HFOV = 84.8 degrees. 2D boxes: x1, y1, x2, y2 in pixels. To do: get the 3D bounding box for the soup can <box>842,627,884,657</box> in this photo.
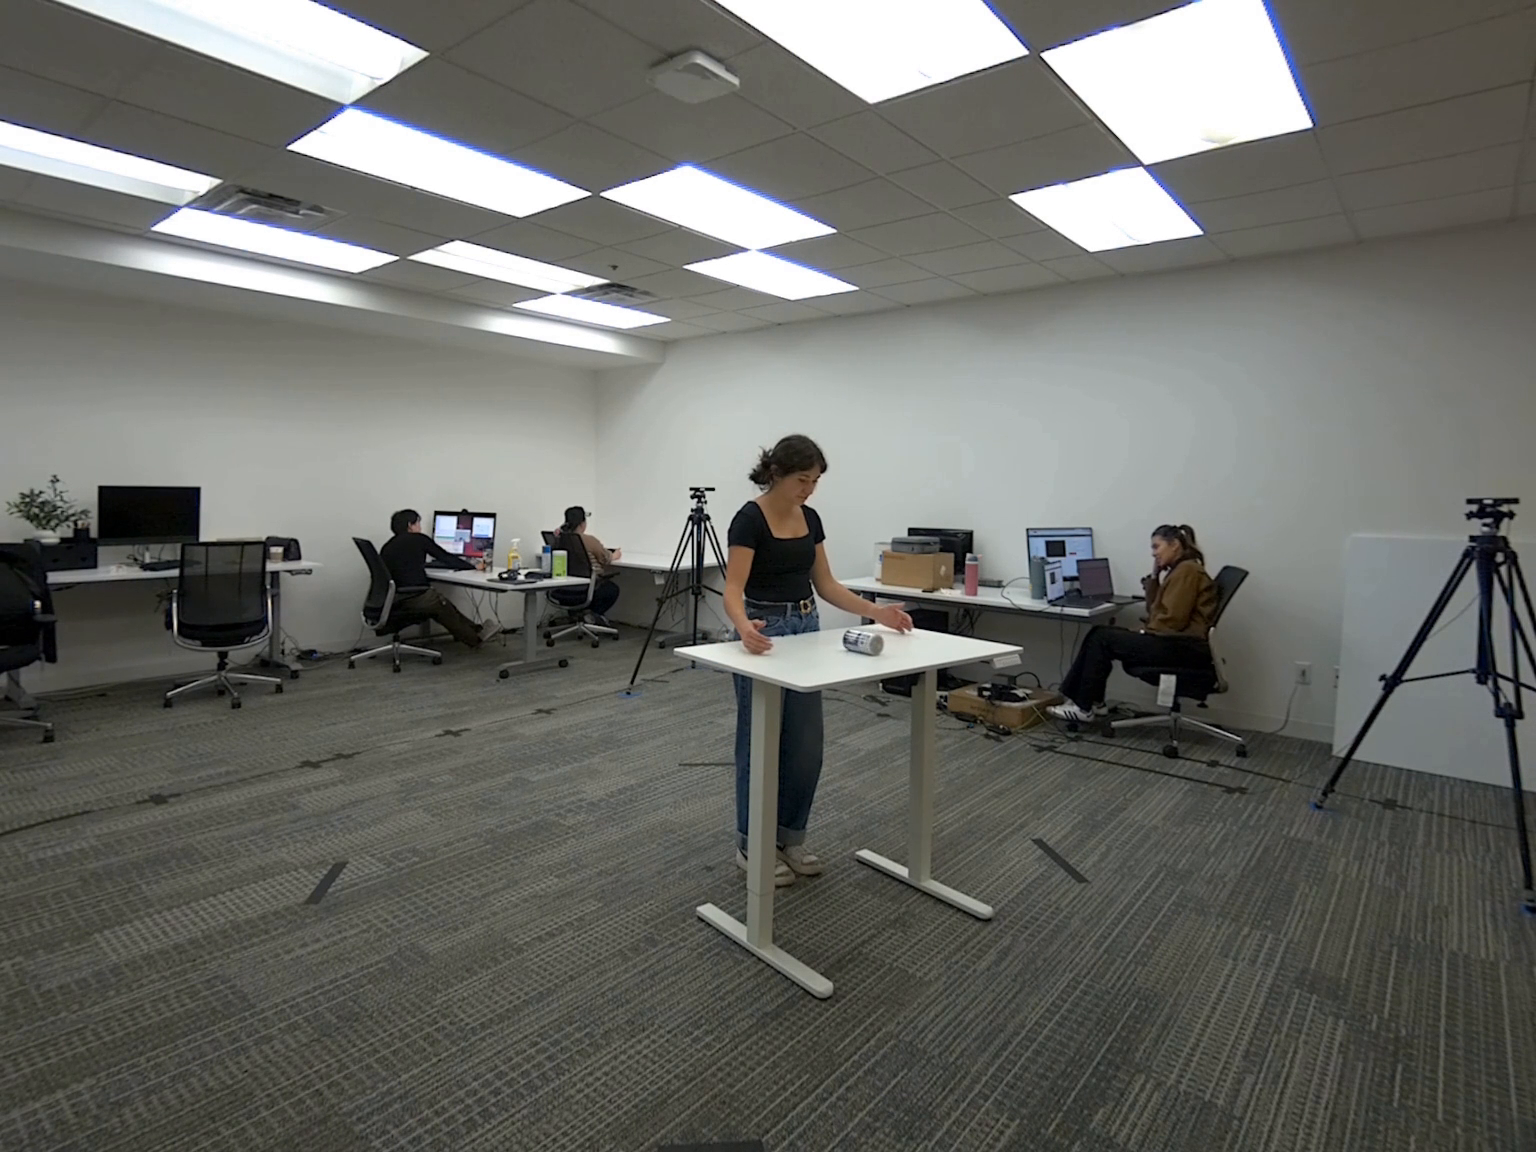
[{"bbox_3d":[0.290,0.204,2.673,0.065,0.067,0.125,-2,4,-31],"label":"soup can"}]
